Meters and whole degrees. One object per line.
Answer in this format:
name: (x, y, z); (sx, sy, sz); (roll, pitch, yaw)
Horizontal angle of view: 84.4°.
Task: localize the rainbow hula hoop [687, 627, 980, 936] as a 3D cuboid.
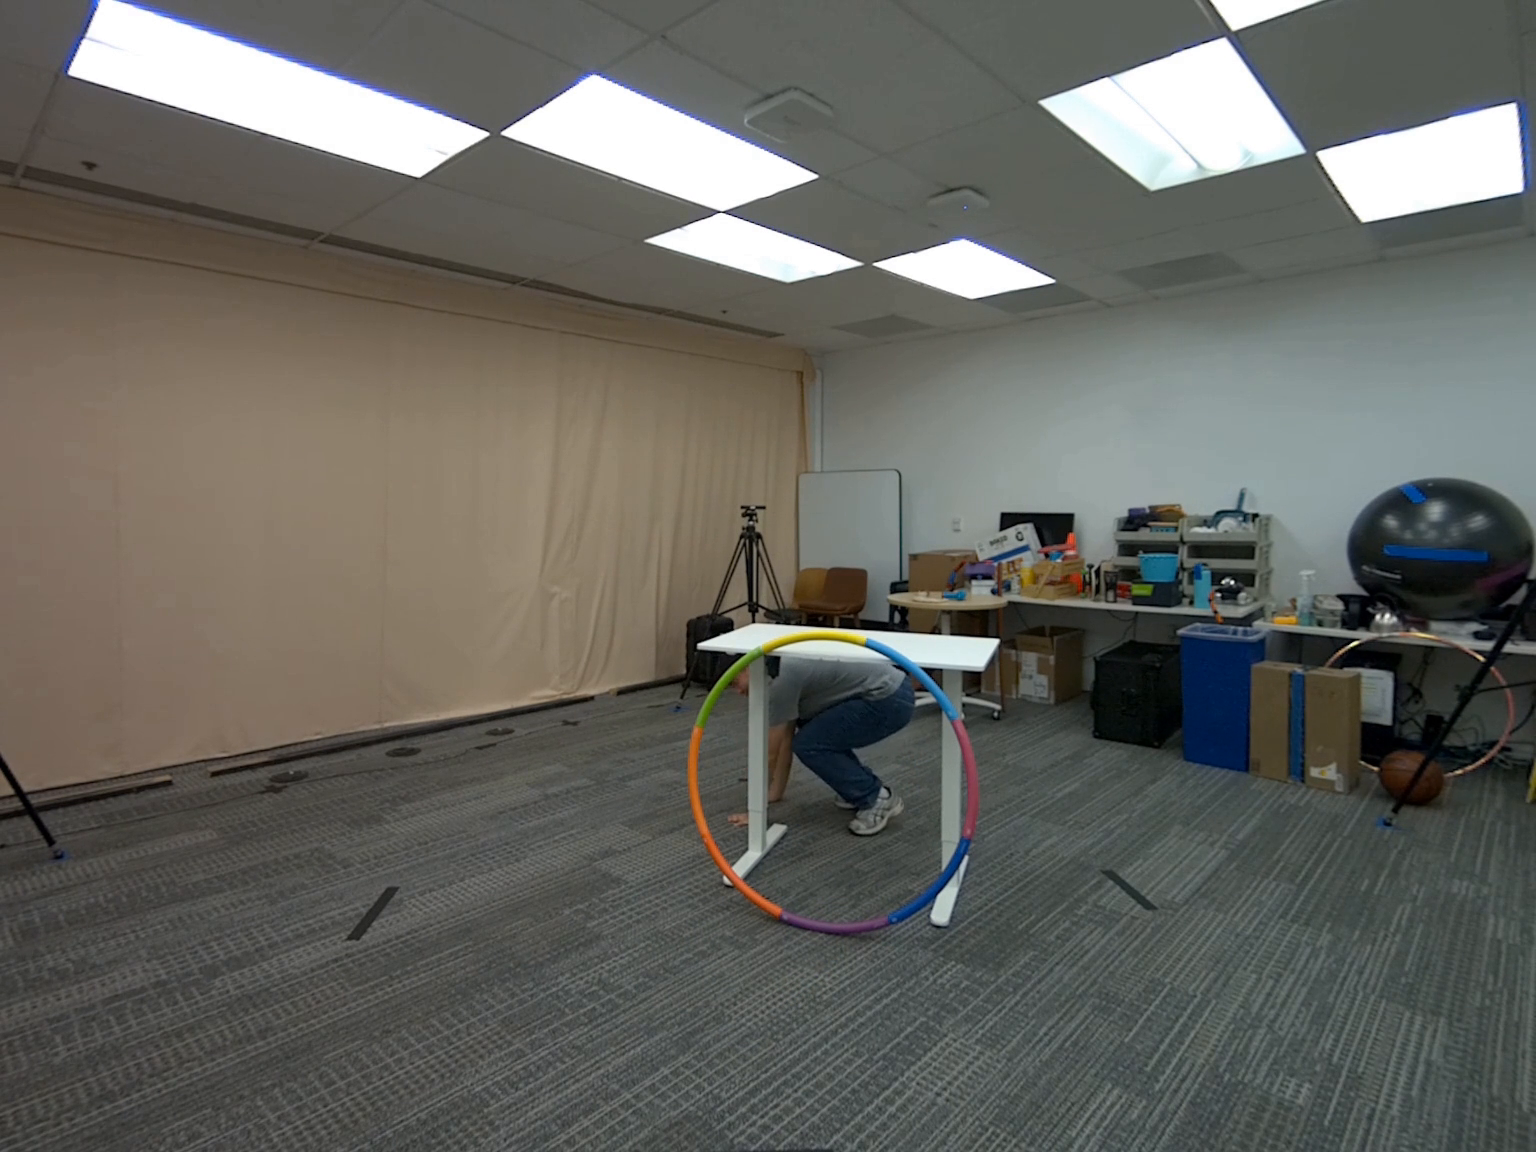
rainbow hula hoop: (0.187, 0.678, 2.811); (1.001, 0.982, 0.034); (1, -7, 22)
